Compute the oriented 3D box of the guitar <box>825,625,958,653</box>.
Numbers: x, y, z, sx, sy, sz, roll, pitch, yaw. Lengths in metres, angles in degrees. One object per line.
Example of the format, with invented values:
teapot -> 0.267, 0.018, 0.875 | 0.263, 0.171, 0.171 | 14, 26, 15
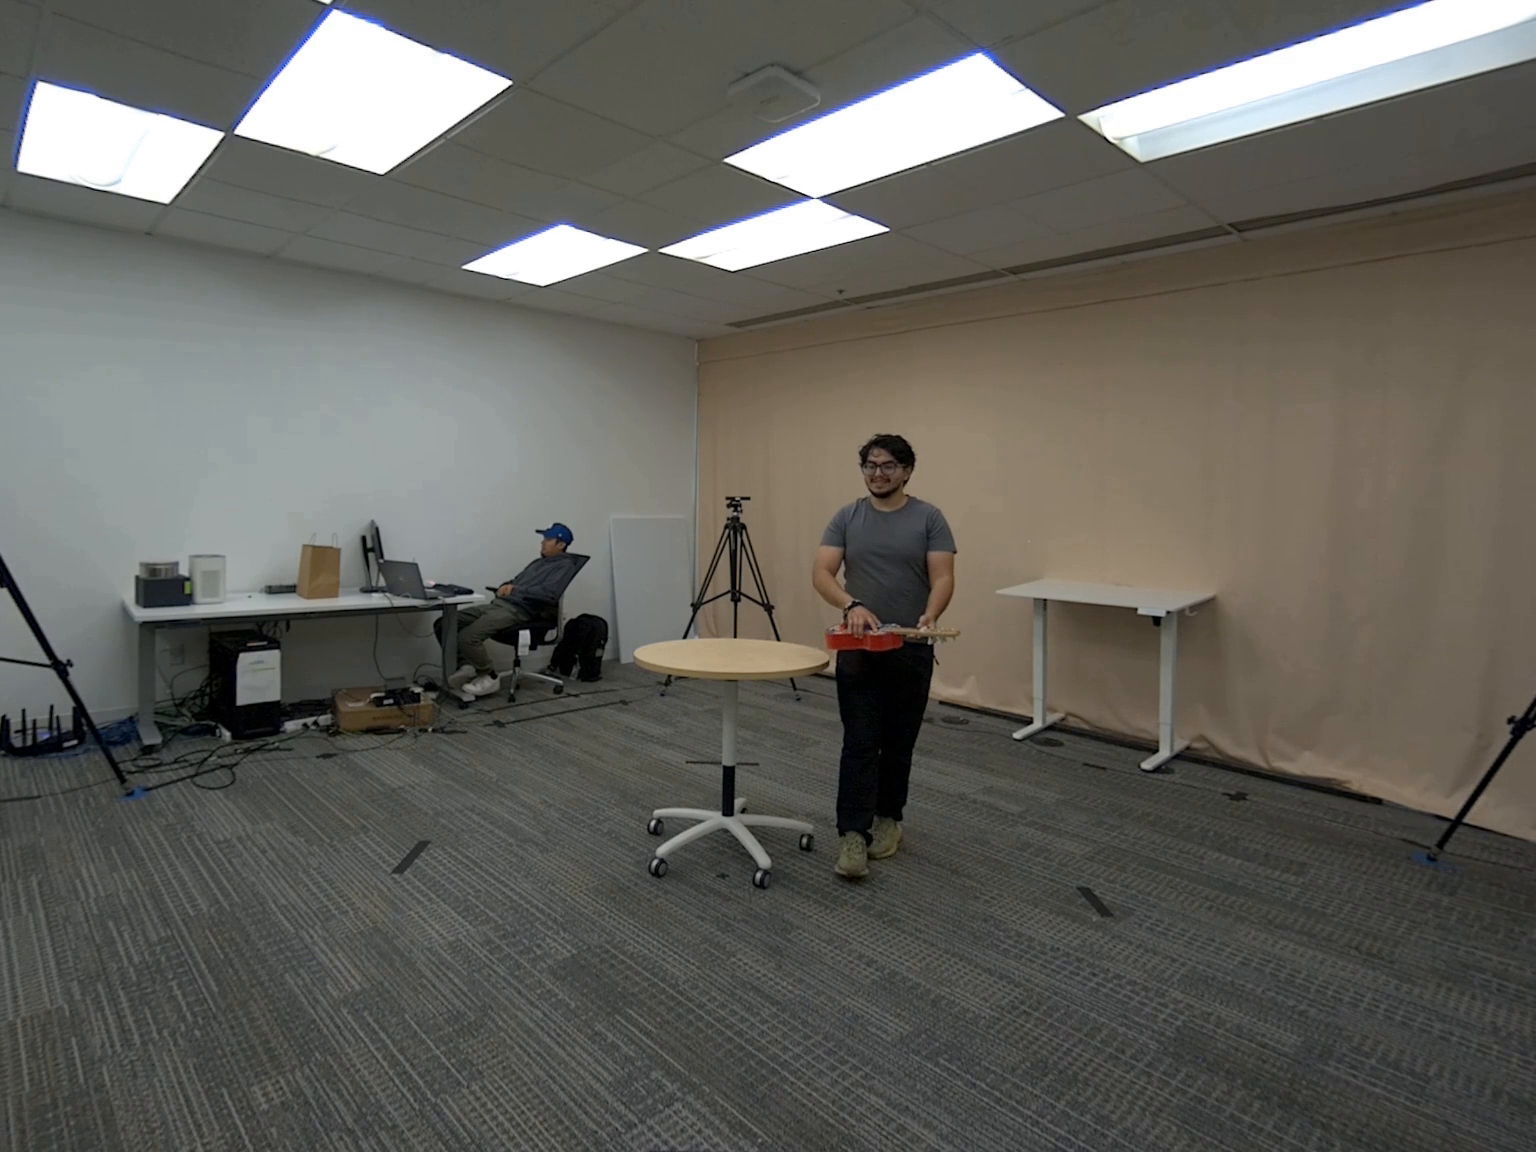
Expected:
guitar -> 0.391, 0.224, 2.887 | 0.189, 0.070, 0.510 | -12, 10, -36
